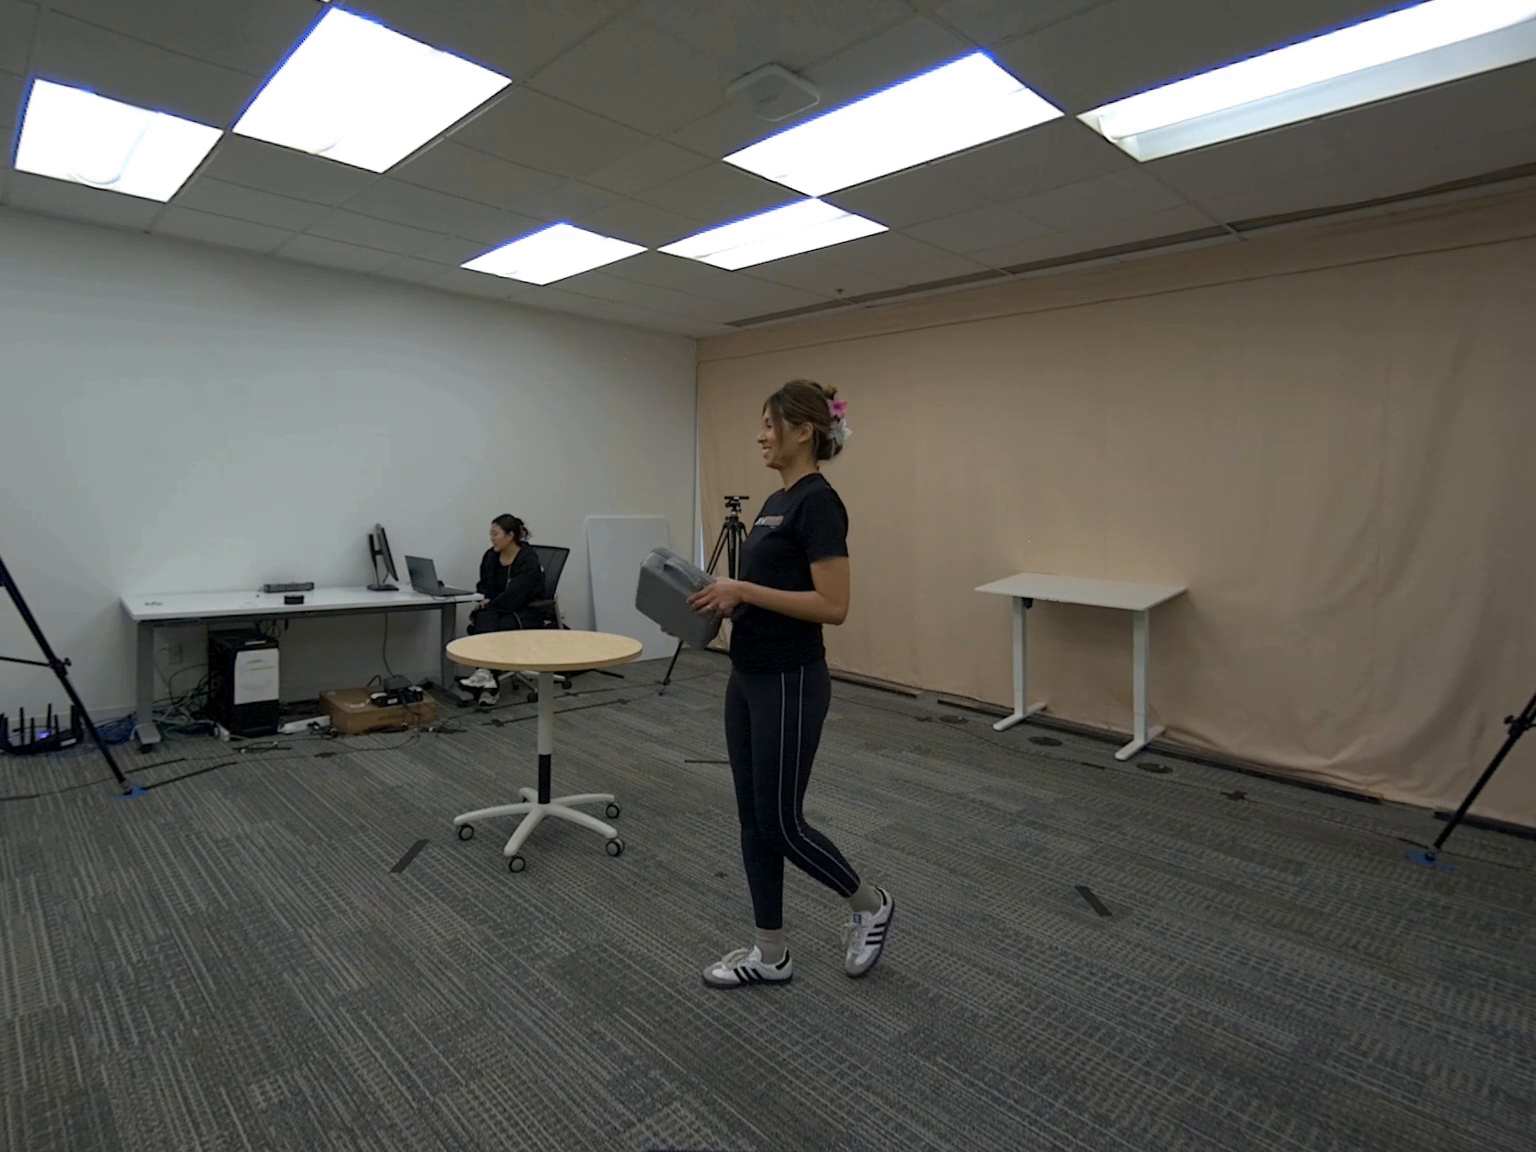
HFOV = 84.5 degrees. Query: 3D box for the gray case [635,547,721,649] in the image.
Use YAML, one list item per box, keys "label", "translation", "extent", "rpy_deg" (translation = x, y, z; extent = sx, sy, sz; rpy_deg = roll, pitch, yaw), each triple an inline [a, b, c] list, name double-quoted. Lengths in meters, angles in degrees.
- label: "gray case"
  translation: [-0.250, 0.061, 2.368]
  extent: [0.260, 0.104, 0.257]
  rpy_deg: [34, -33, 13]
